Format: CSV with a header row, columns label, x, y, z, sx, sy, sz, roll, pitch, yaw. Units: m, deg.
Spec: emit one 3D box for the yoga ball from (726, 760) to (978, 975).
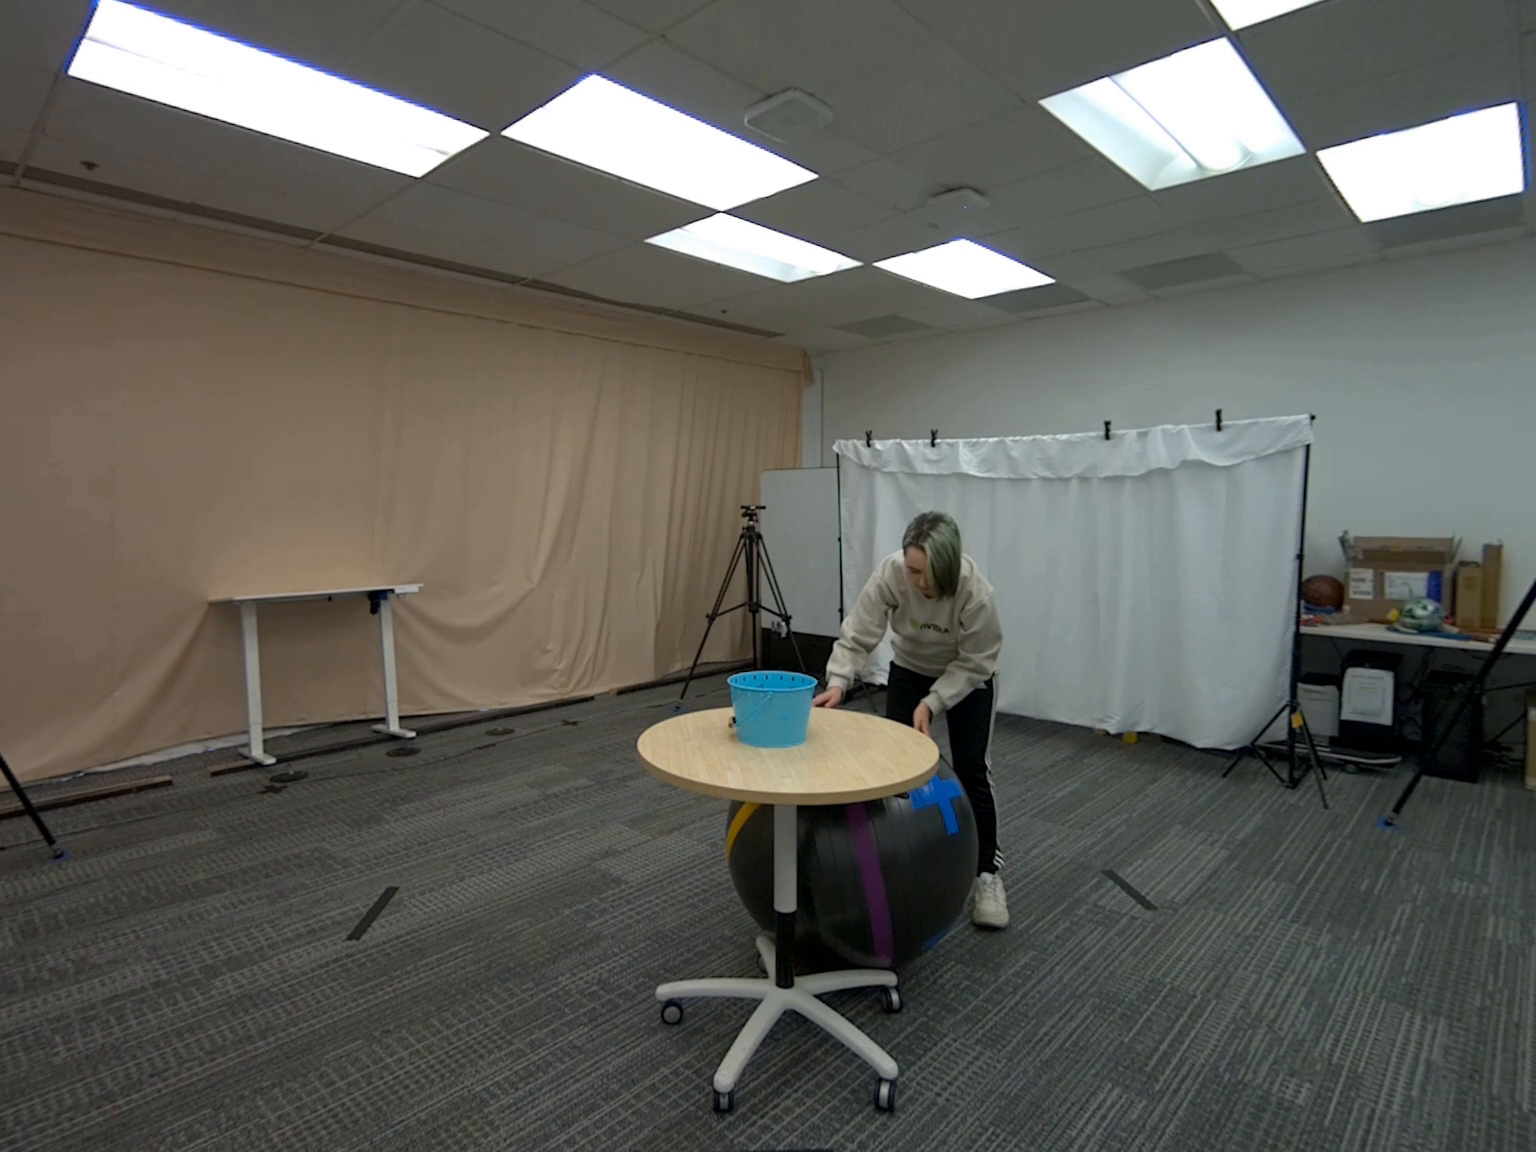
label,x,y,z,sx,sy,sz,roll,pitch,yaw
yoga ball,0.255,0.805,2.593,0.757,0.756,0.761,0,4,-2
